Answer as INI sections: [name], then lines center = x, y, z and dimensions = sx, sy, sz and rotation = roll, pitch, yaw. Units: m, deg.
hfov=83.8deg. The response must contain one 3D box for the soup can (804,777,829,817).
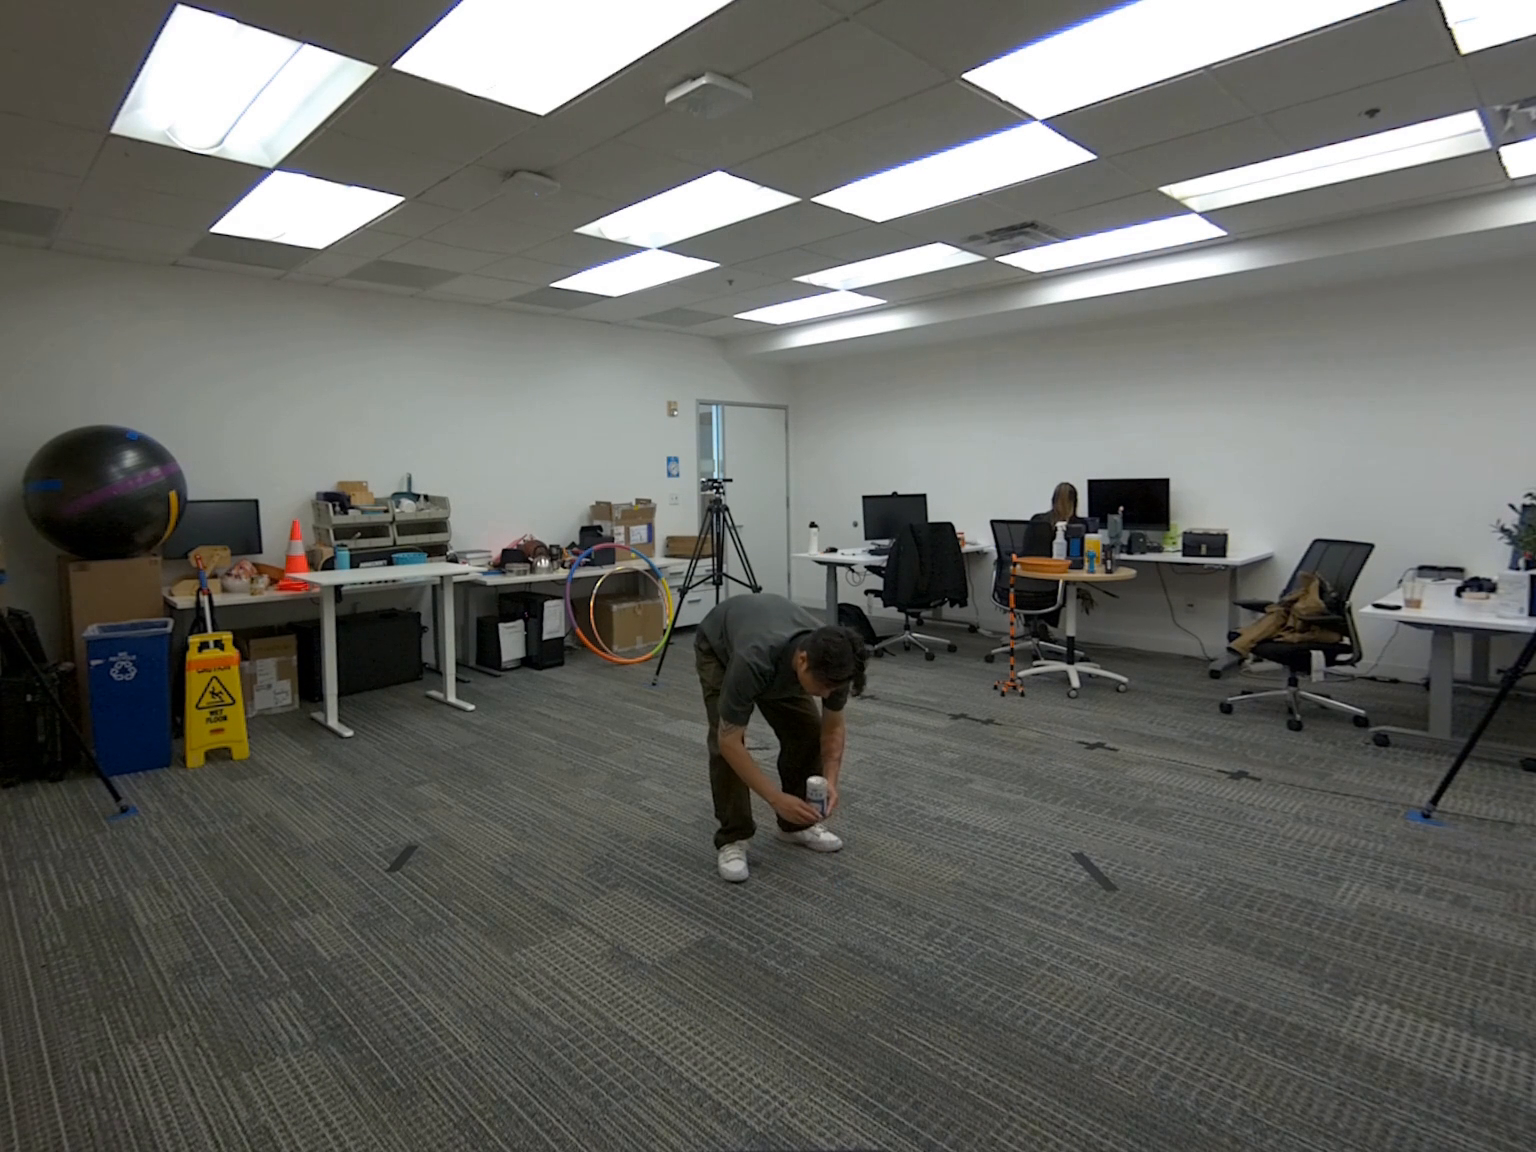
[soup can]
center = 0.155, 0.766, 2.835
dimensions = 0.067, 0.121, 0.067
rotation = -2, 8, -1
